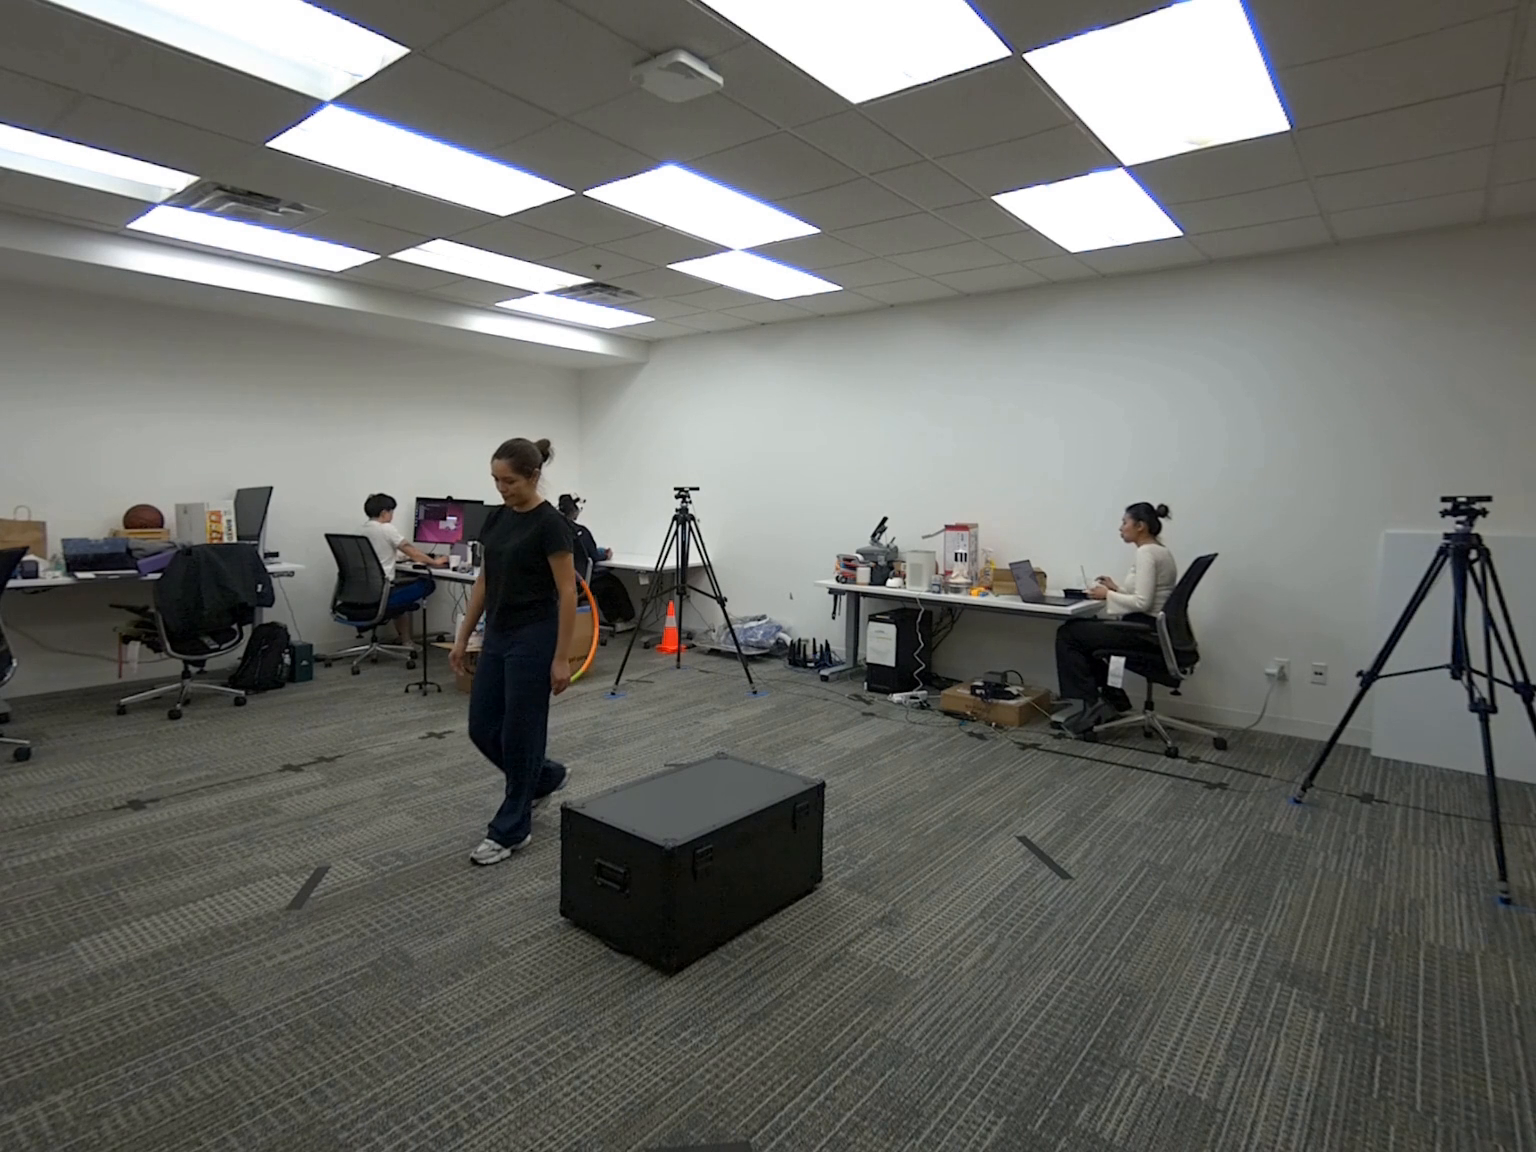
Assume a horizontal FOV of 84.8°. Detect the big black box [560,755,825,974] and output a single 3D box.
[{"bbox_3d":[-0.199,0.899,2.862,0.539,0.395,0.836,5,7,39],"label":"big black box"}]
